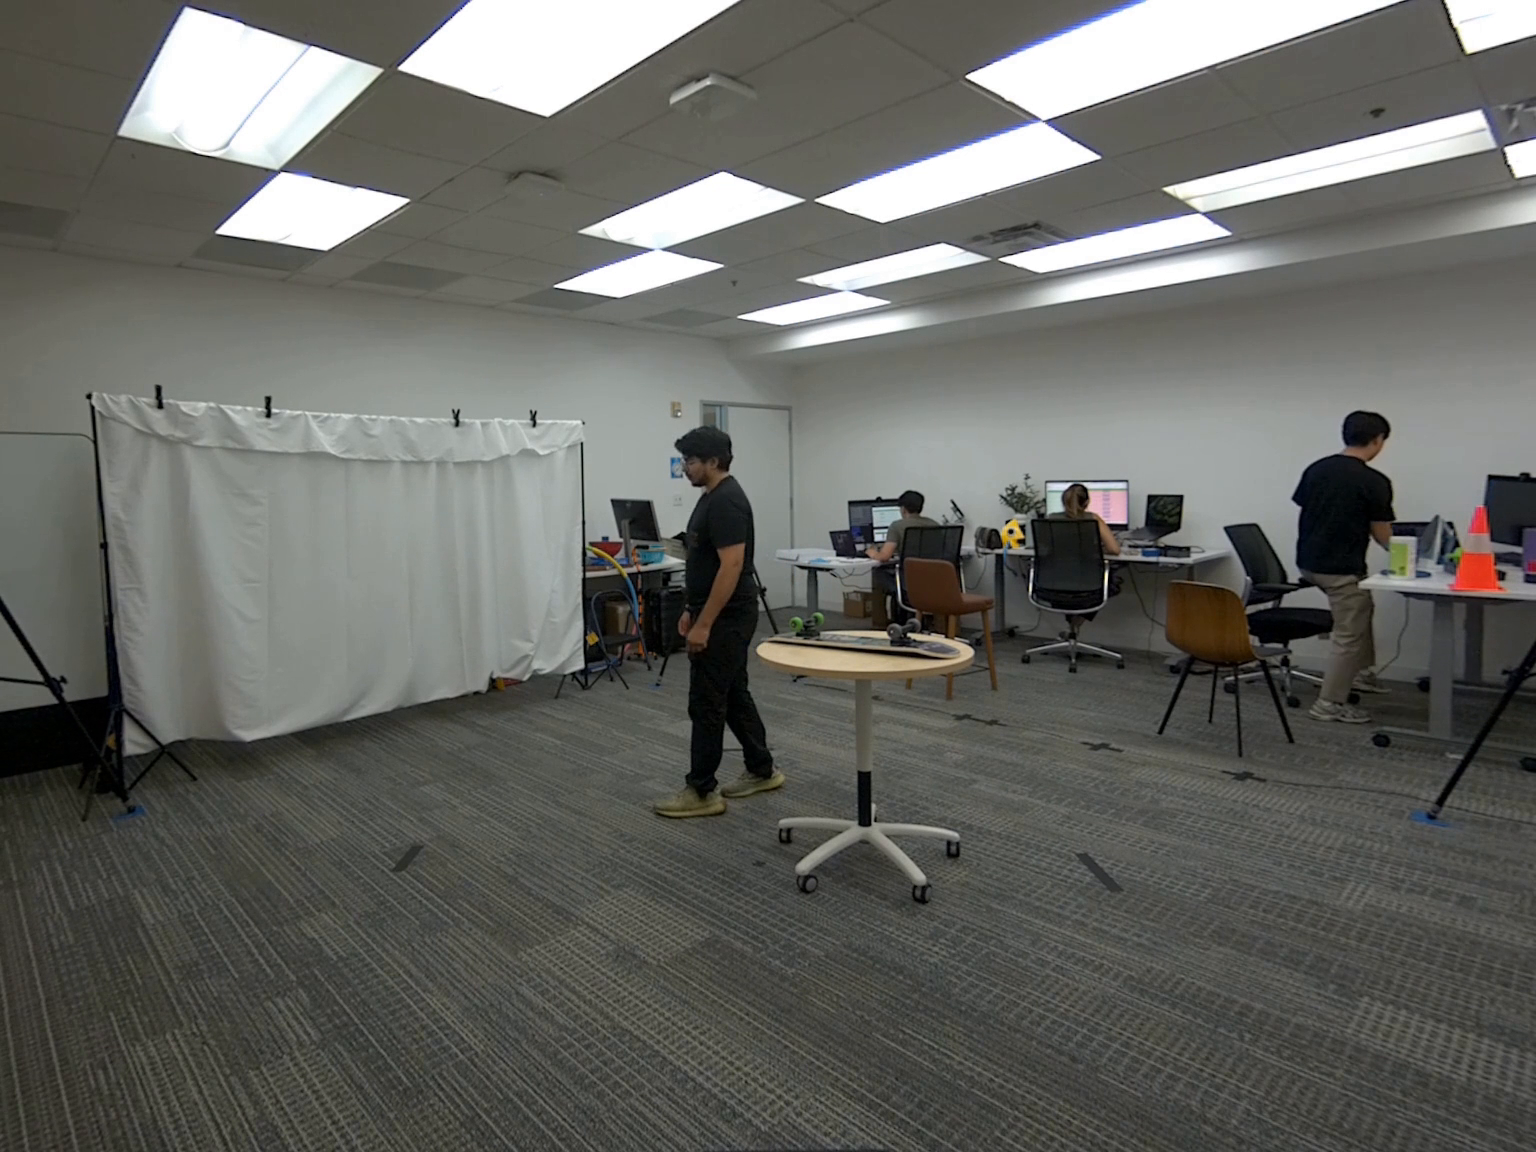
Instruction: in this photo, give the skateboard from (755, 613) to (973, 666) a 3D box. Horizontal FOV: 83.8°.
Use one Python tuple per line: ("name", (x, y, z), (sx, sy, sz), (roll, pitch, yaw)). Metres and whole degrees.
("skateboard", (0.324, 0.219, 3.113), (0.808, 0.110, 0.189), (1, 6, 38))
